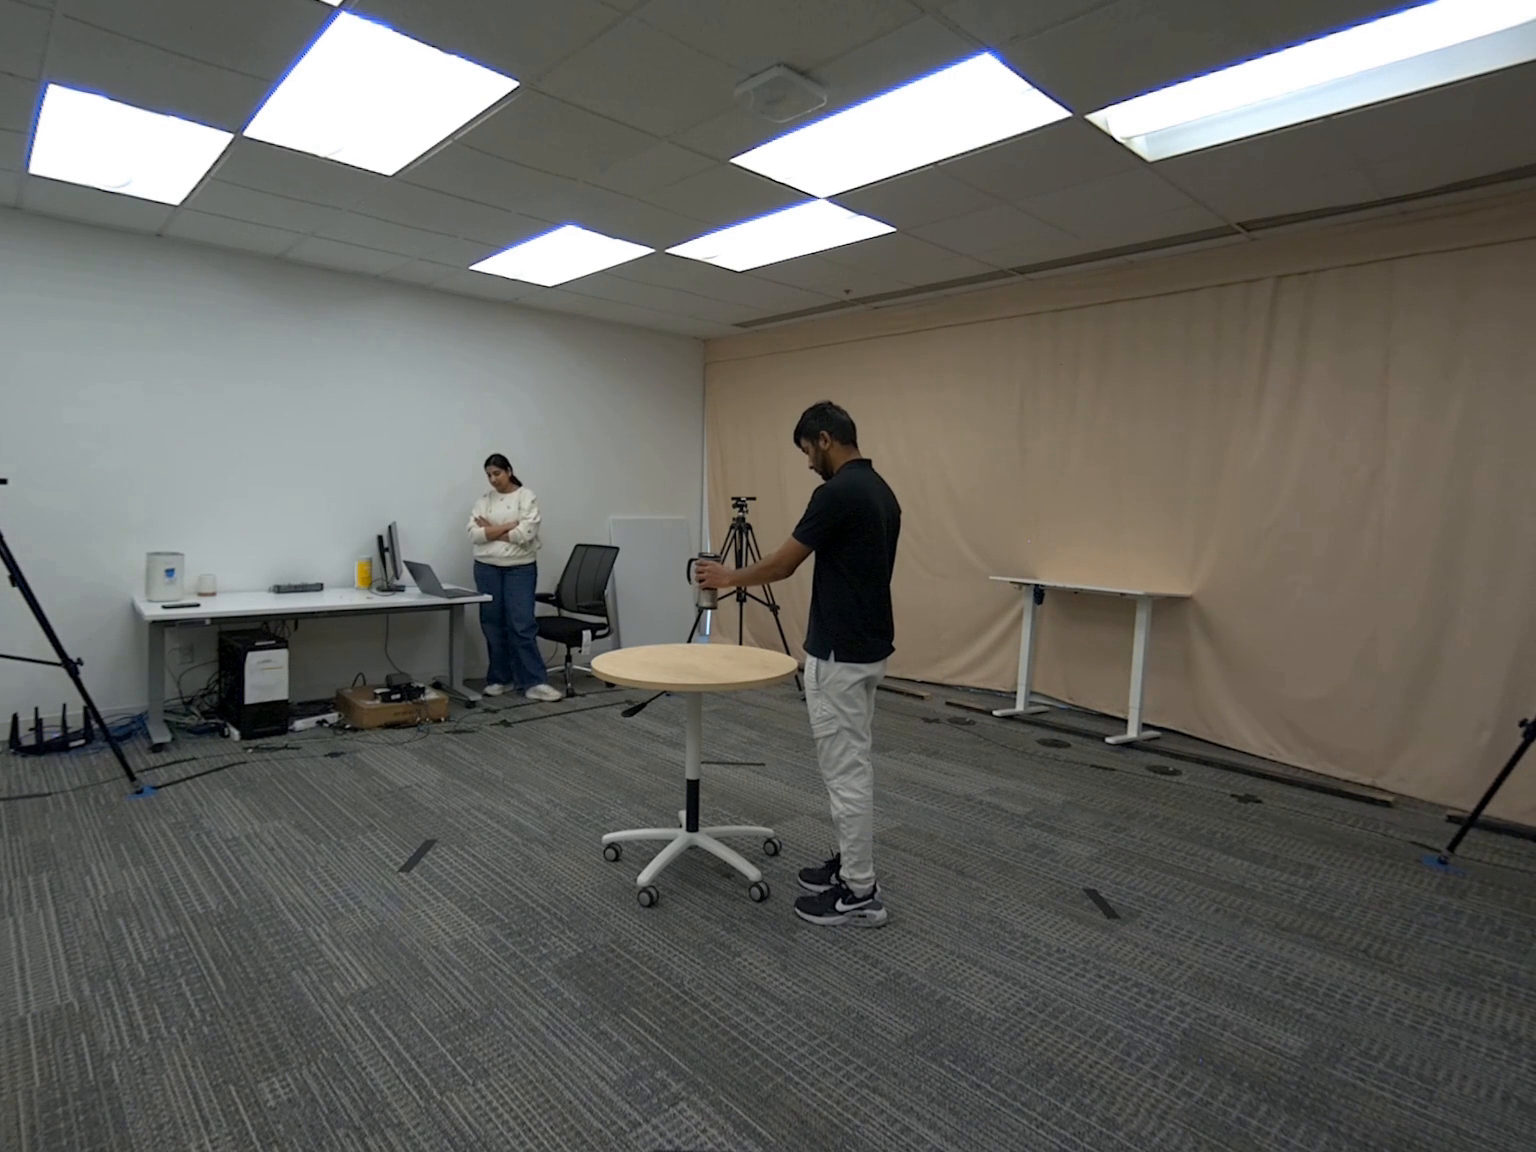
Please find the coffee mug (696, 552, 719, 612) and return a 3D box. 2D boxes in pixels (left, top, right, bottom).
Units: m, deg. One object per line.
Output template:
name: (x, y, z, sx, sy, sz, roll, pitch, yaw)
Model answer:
coffee mug: (-0.238, 0.019, 3.081, 0.124, 0.202, 0.087, 6, 6, 18)
